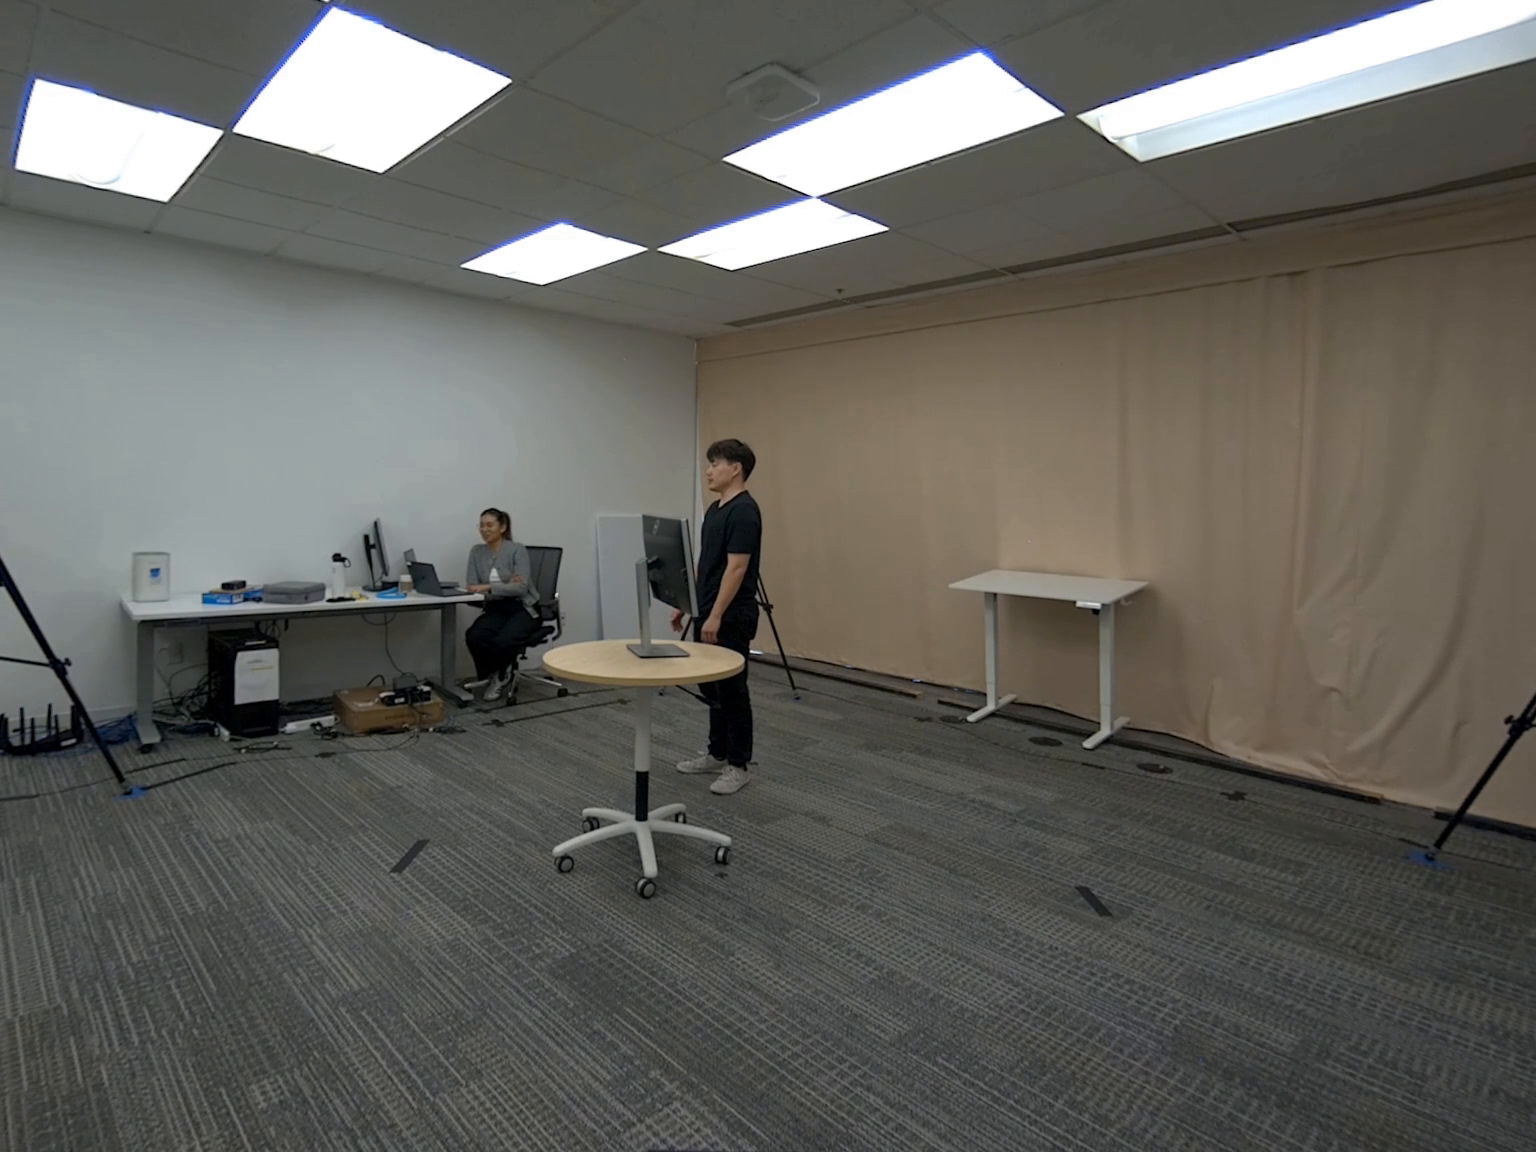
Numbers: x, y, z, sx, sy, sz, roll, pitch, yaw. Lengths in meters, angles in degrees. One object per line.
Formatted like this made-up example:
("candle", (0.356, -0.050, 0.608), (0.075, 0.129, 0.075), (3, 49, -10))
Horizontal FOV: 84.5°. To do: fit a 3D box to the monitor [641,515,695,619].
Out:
("monitor", (-0.437, 0.037, 3.306), (0.184, 0.521, 0.550), (2, 5, -24))
